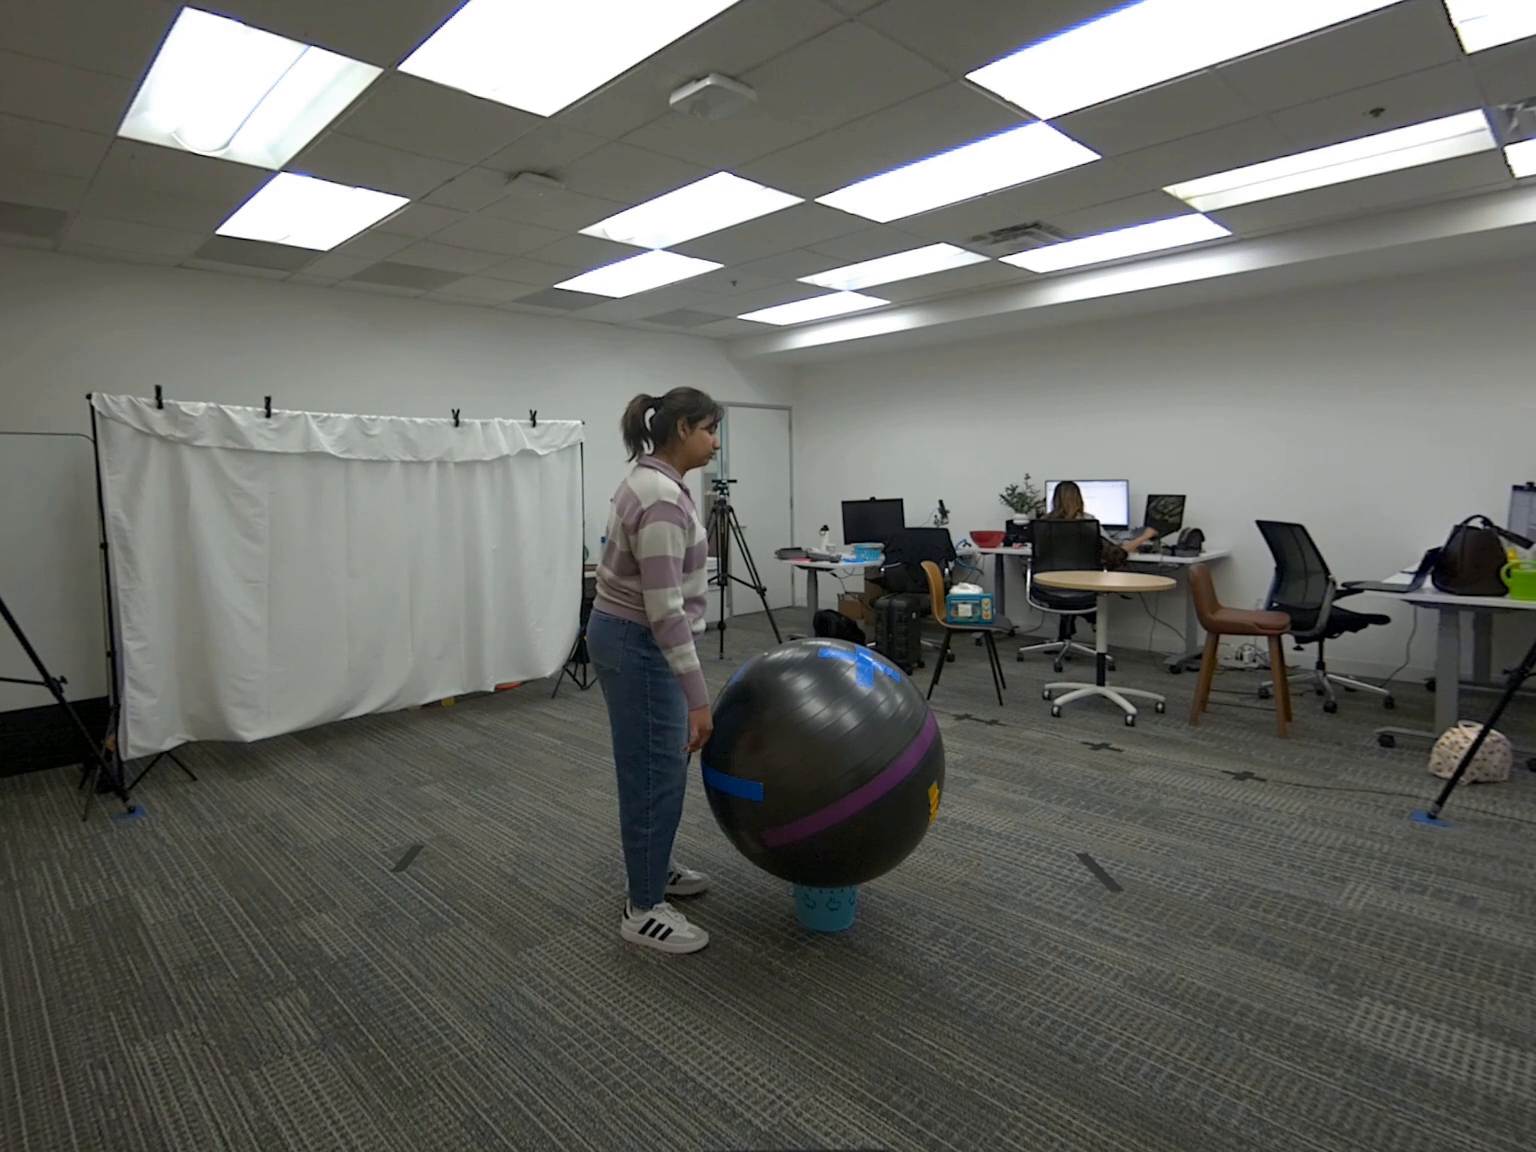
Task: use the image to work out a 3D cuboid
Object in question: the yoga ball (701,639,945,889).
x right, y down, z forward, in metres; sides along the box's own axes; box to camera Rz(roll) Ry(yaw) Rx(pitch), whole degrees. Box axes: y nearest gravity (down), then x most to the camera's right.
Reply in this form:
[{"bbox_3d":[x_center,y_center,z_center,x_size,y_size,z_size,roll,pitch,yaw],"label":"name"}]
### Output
[{"bbox_3d":[0.169,0.586,2.679,0.757,0.755,0.762,-1,5,-2],"label":"yoga ball"}]
